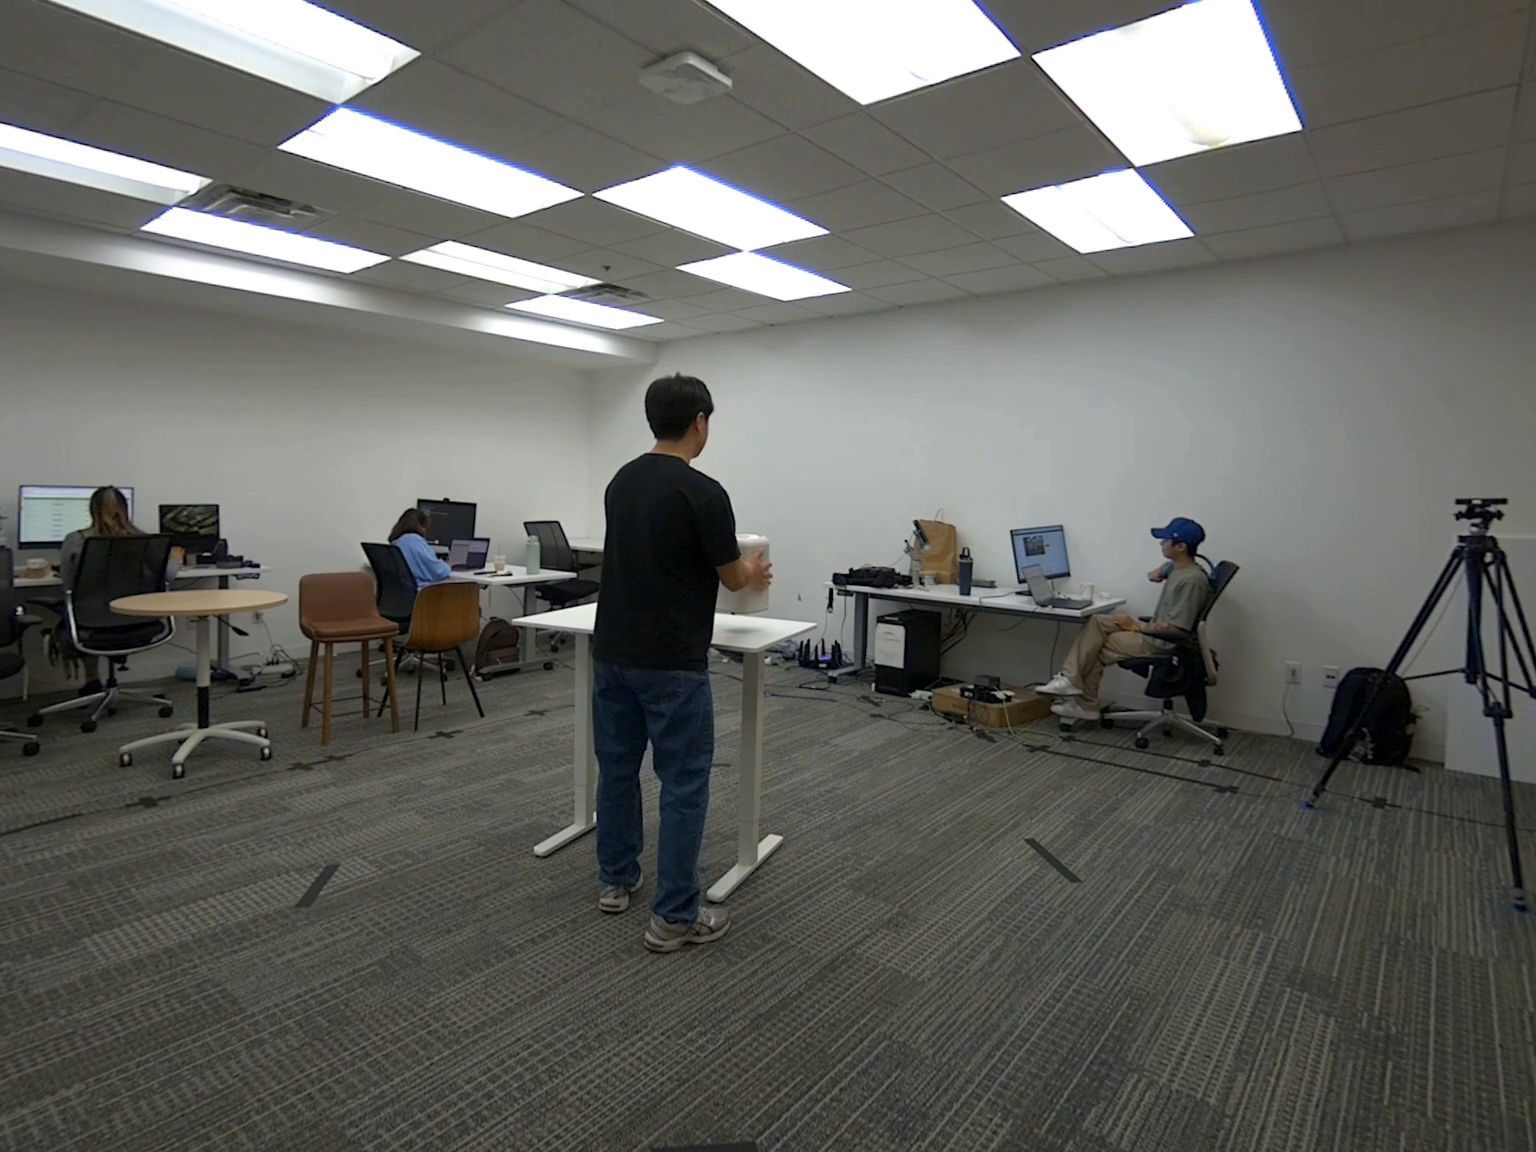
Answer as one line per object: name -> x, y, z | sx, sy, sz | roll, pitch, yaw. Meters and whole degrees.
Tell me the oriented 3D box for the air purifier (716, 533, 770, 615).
air purifier -> -0.104, -0.012, 3.066 | 0.177, 0.264, 0.167 | 6, 9, 39
